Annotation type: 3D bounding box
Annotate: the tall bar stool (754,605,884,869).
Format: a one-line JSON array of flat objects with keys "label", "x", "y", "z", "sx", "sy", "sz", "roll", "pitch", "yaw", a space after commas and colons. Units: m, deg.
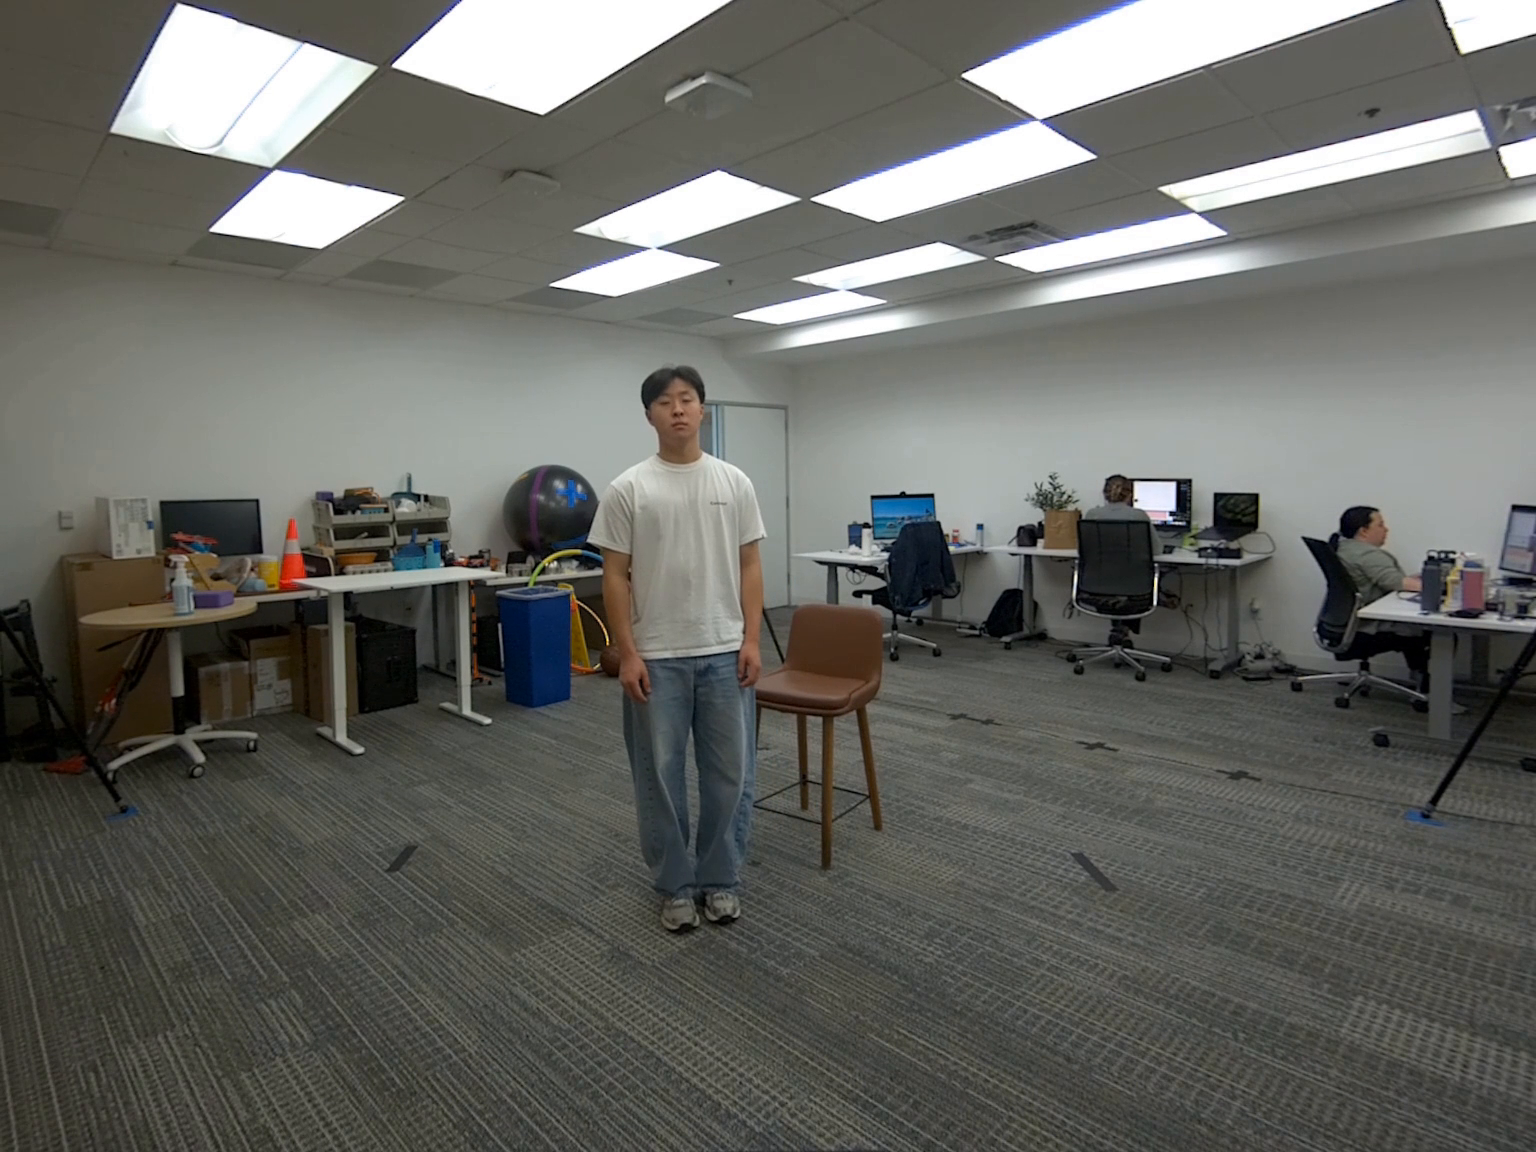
[{"label": "tall bar stool", "x": 0.180, "y": 0.581, "z": 3.315, "sx": 0.470, "sy": 0.888, "sz": 0.455, "roll": 3, "pitch": 3, "yaw": 37}]
